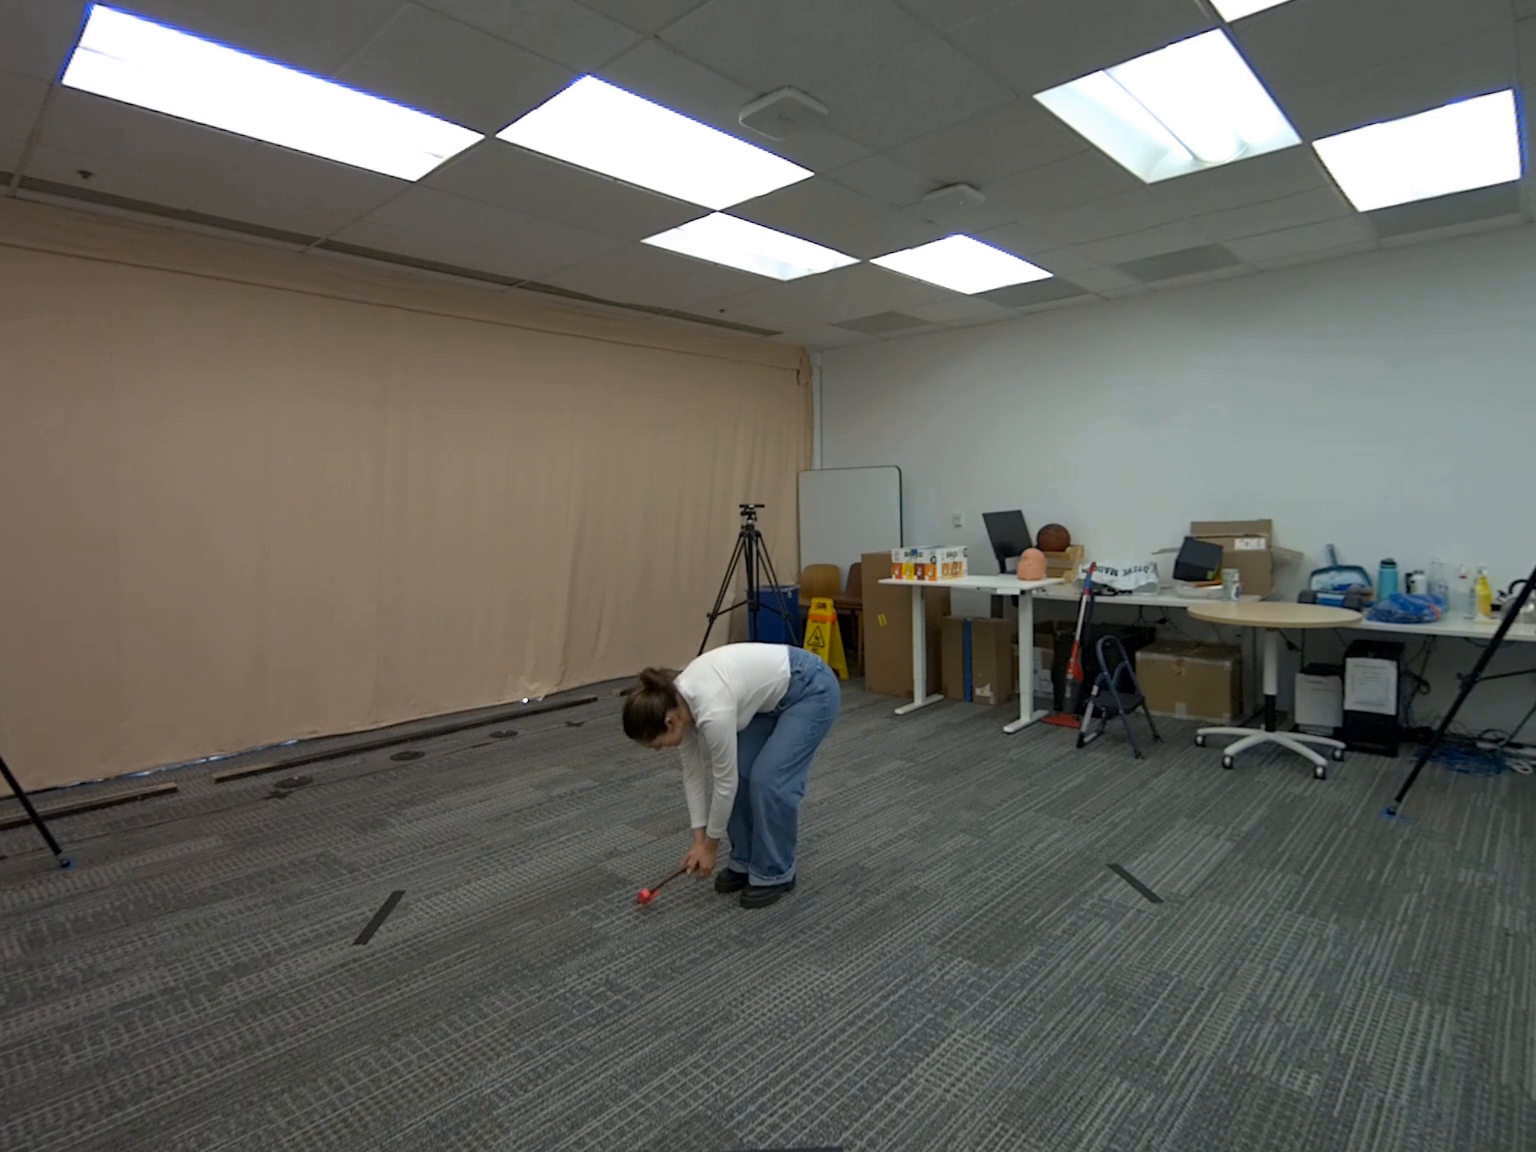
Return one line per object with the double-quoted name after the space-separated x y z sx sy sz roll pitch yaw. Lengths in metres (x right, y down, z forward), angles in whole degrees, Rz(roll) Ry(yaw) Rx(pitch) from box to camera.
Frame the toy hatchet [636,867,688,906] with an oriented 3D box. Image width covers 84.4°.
-0.347 1.066 2.939 0.264 0.129 0.030 -16 45 -29 "toy hatchet"
